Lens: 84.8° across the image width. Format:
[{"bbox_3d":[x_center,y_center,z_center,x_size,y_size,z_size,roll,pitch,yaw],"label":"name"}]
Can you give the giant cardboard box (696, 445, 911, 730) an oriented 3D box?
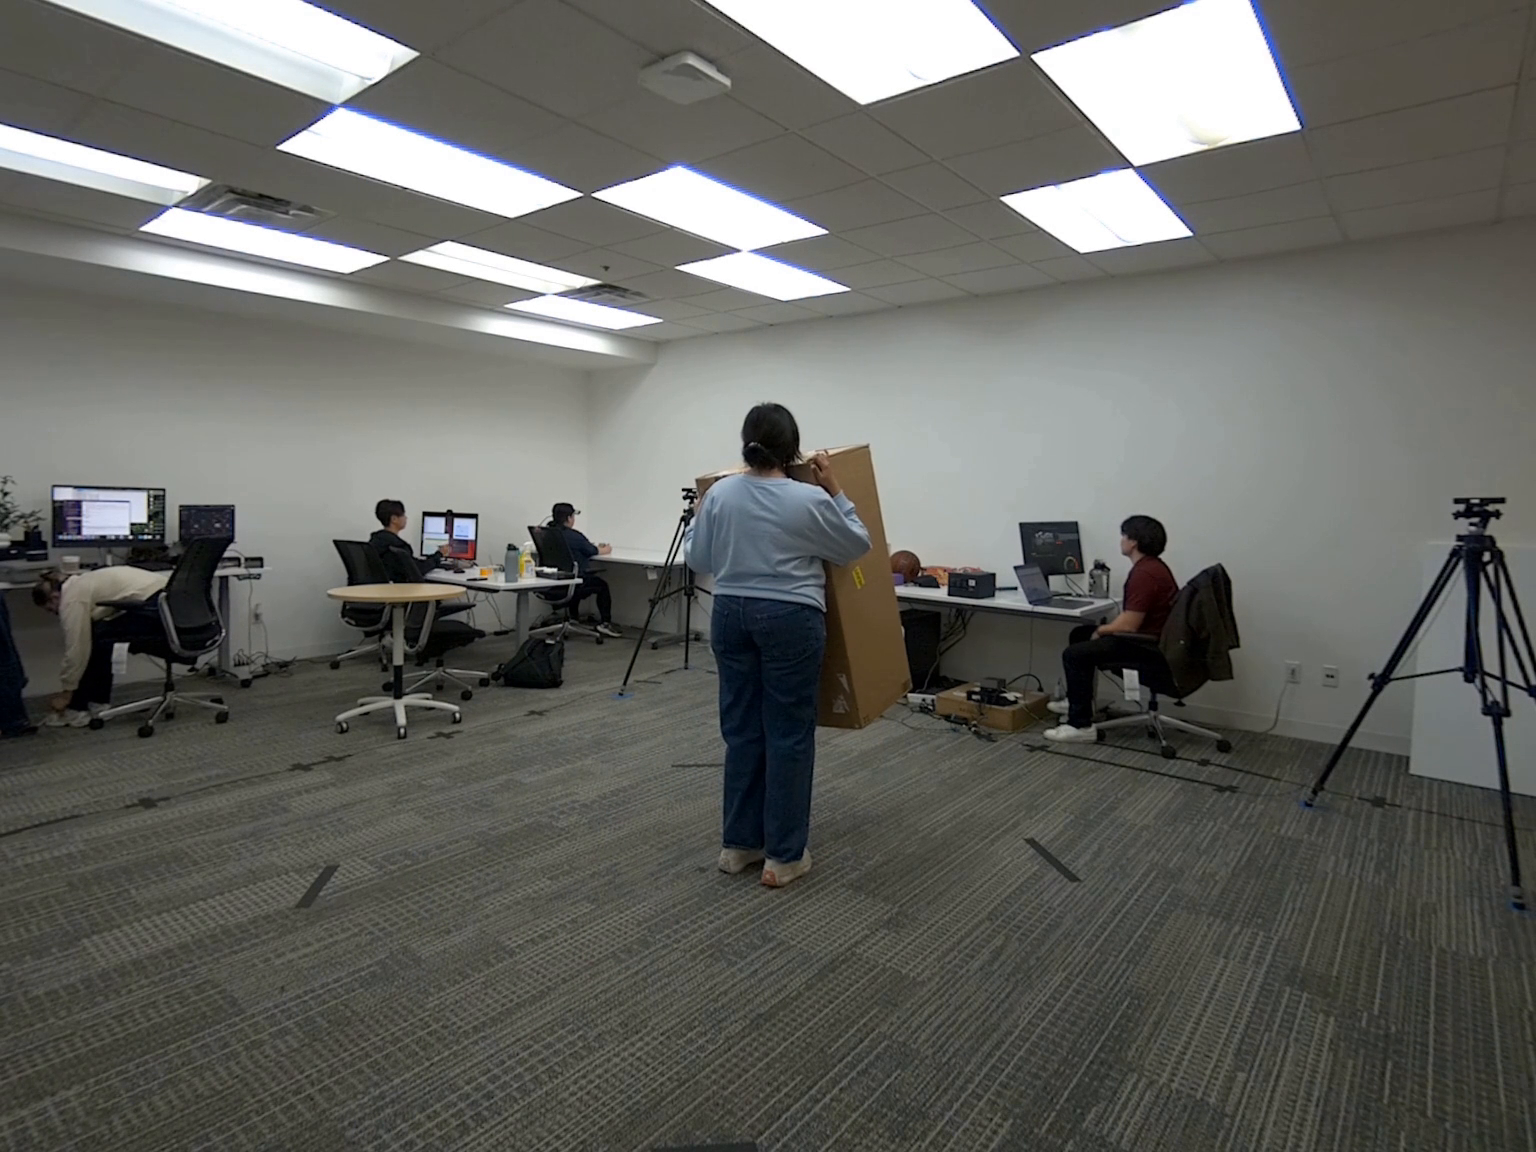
[{"bbox_3d":[0.141,0.033,3.443,0.601,1.017,0.438,-4,11,41],"label":"giant cardboard box"}]
